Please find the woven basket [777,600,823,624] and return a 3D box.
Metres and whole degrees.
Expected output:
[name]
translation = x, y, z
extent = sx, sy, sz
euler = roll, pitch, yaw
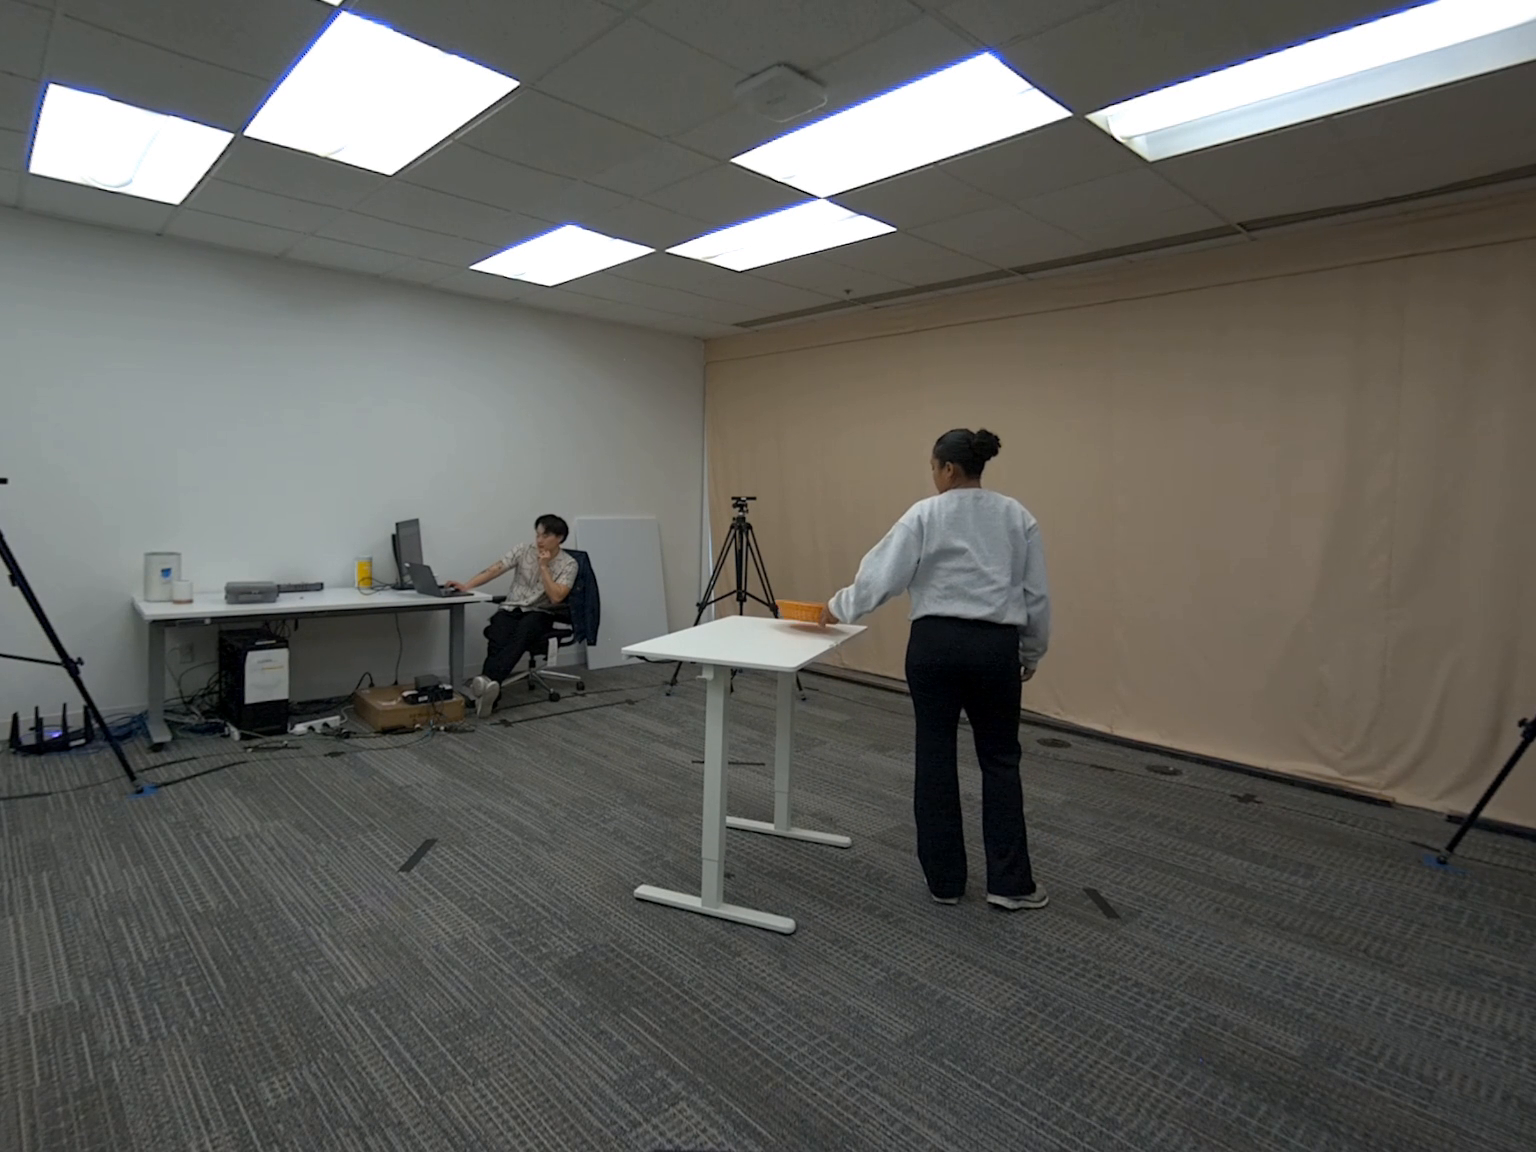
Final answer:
[woven basket]
translation = 0.178, 0.146, 3.355
extent = 0.249, 0.073, 0.355
euler = 6, 0, -16
